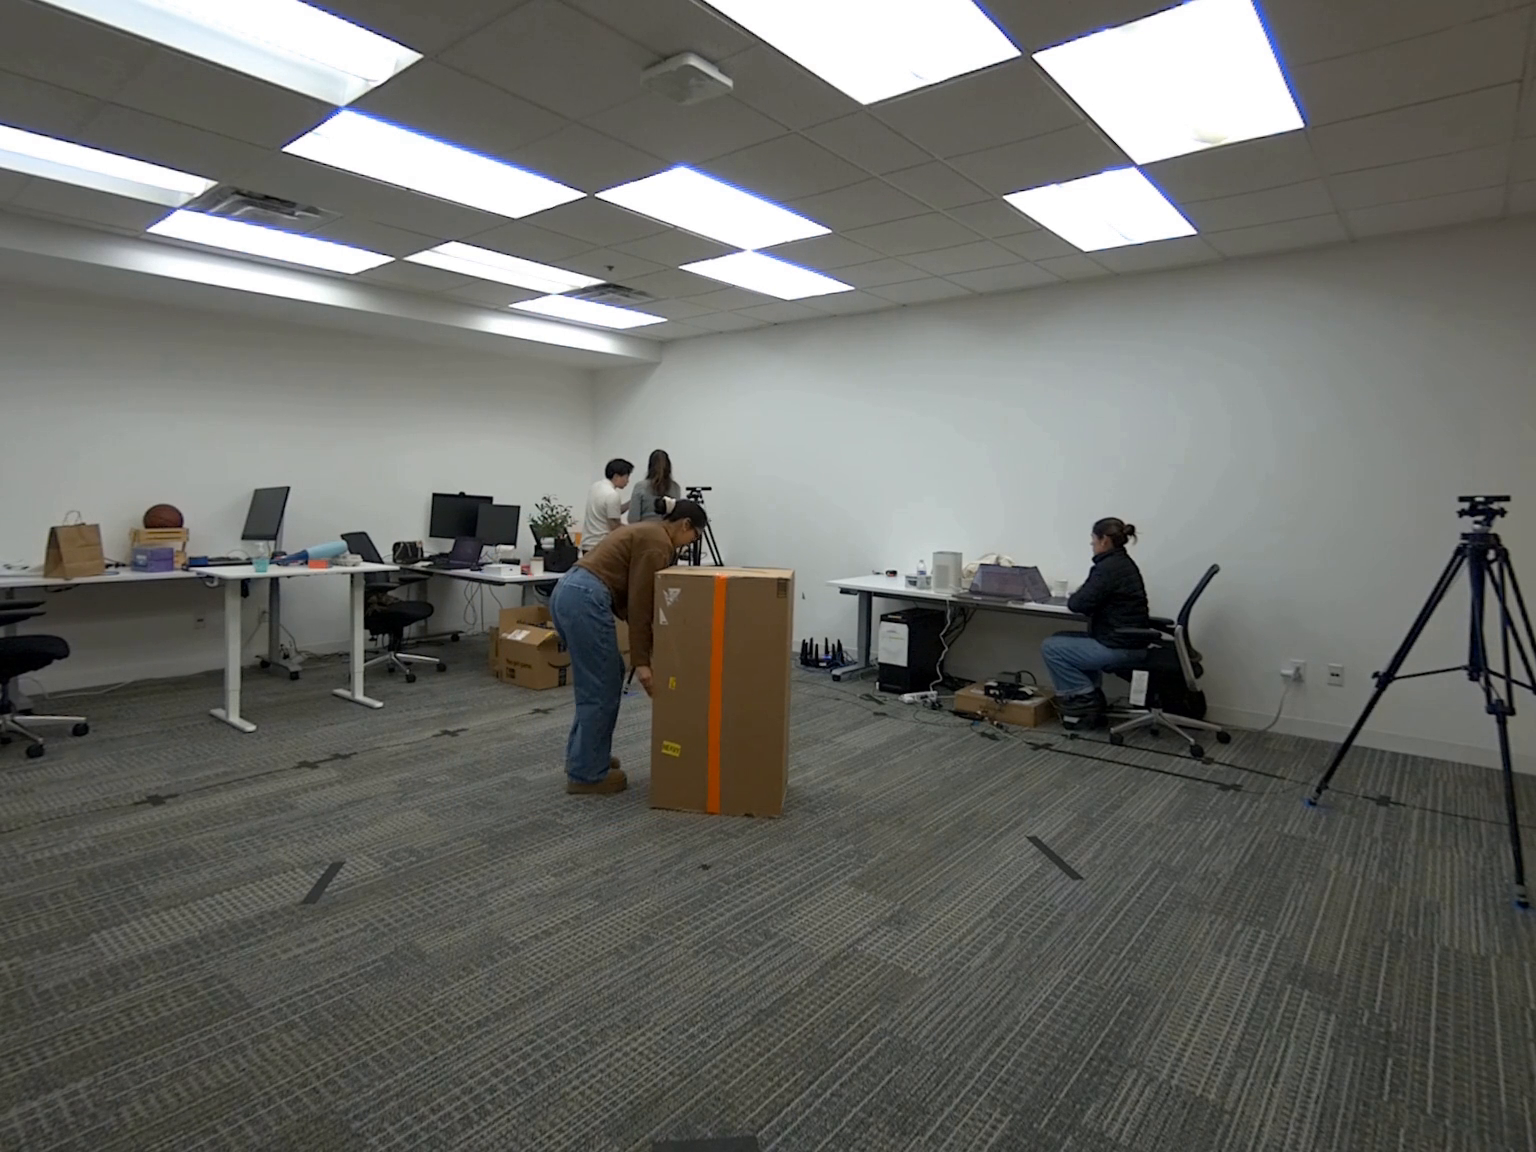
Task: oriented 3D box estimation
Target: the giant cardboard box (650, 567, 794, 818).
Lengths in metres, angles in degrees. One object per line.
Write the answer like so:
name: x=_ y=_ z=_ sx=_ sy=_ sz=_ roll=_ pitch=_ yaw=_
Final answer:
giant cardboard box: x=-0.209 y=0.487 z=3.816 sx=0.583 sy=1.023 sz=0.424 roll=2 pitch=3 yaw=8
